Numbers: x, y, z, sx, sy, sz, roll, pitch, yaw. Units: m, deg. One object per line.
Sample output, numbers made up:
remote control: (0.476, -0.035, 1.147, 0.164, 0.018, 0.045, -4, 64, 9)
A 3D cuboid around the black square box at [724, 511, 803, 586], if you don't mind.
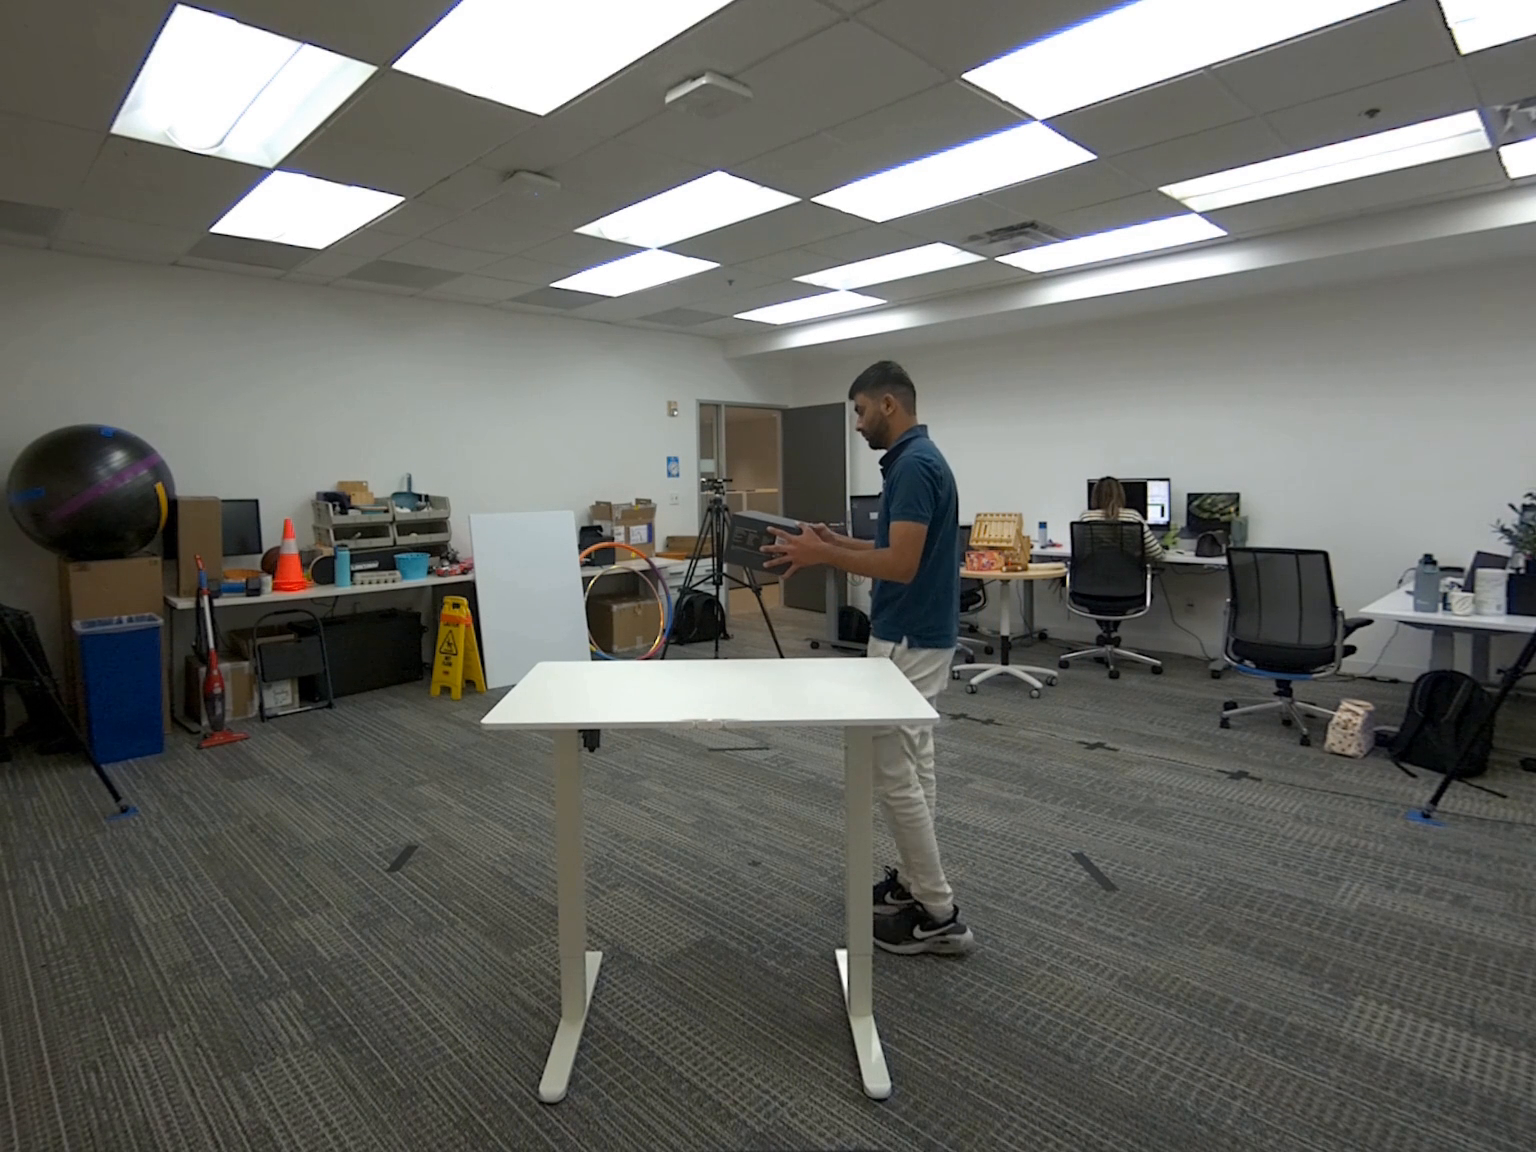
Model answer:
black square box: (0.000, -0.106, 2.702, 0.220, 0.155, 0.225, 12, 8, 13)
